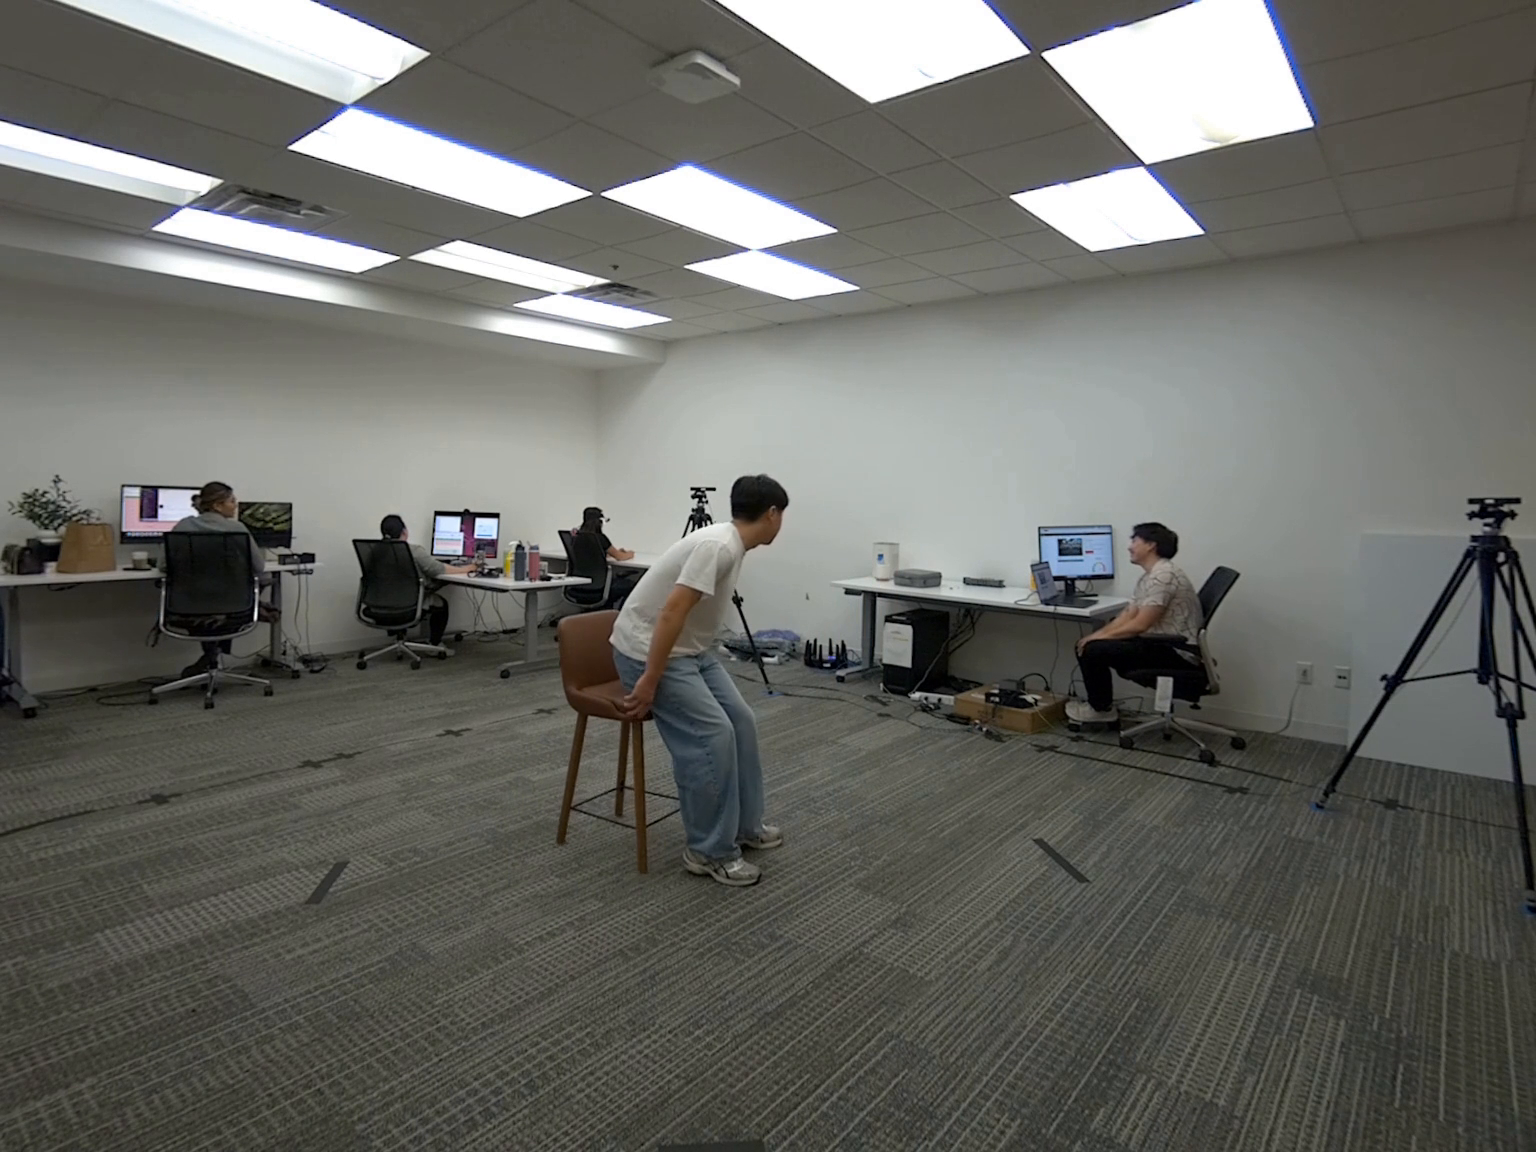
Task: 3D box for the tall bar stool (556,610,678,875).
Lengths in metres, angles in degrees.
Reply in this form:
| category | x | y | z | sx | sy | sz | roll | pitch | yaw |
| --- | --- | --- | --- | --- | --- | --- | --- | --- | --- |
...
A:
| category | x | y | z | sx | sy | sz | roll | pitch | yaw |
| --- | --- | --- | --- | --- | --- | --- | --- | --- | --- |
| tall bar stool | -0.543 | 0.603 | 3.329 | 0.481 | 0.888 | 0.444 | 1 | 2 | 32 |
